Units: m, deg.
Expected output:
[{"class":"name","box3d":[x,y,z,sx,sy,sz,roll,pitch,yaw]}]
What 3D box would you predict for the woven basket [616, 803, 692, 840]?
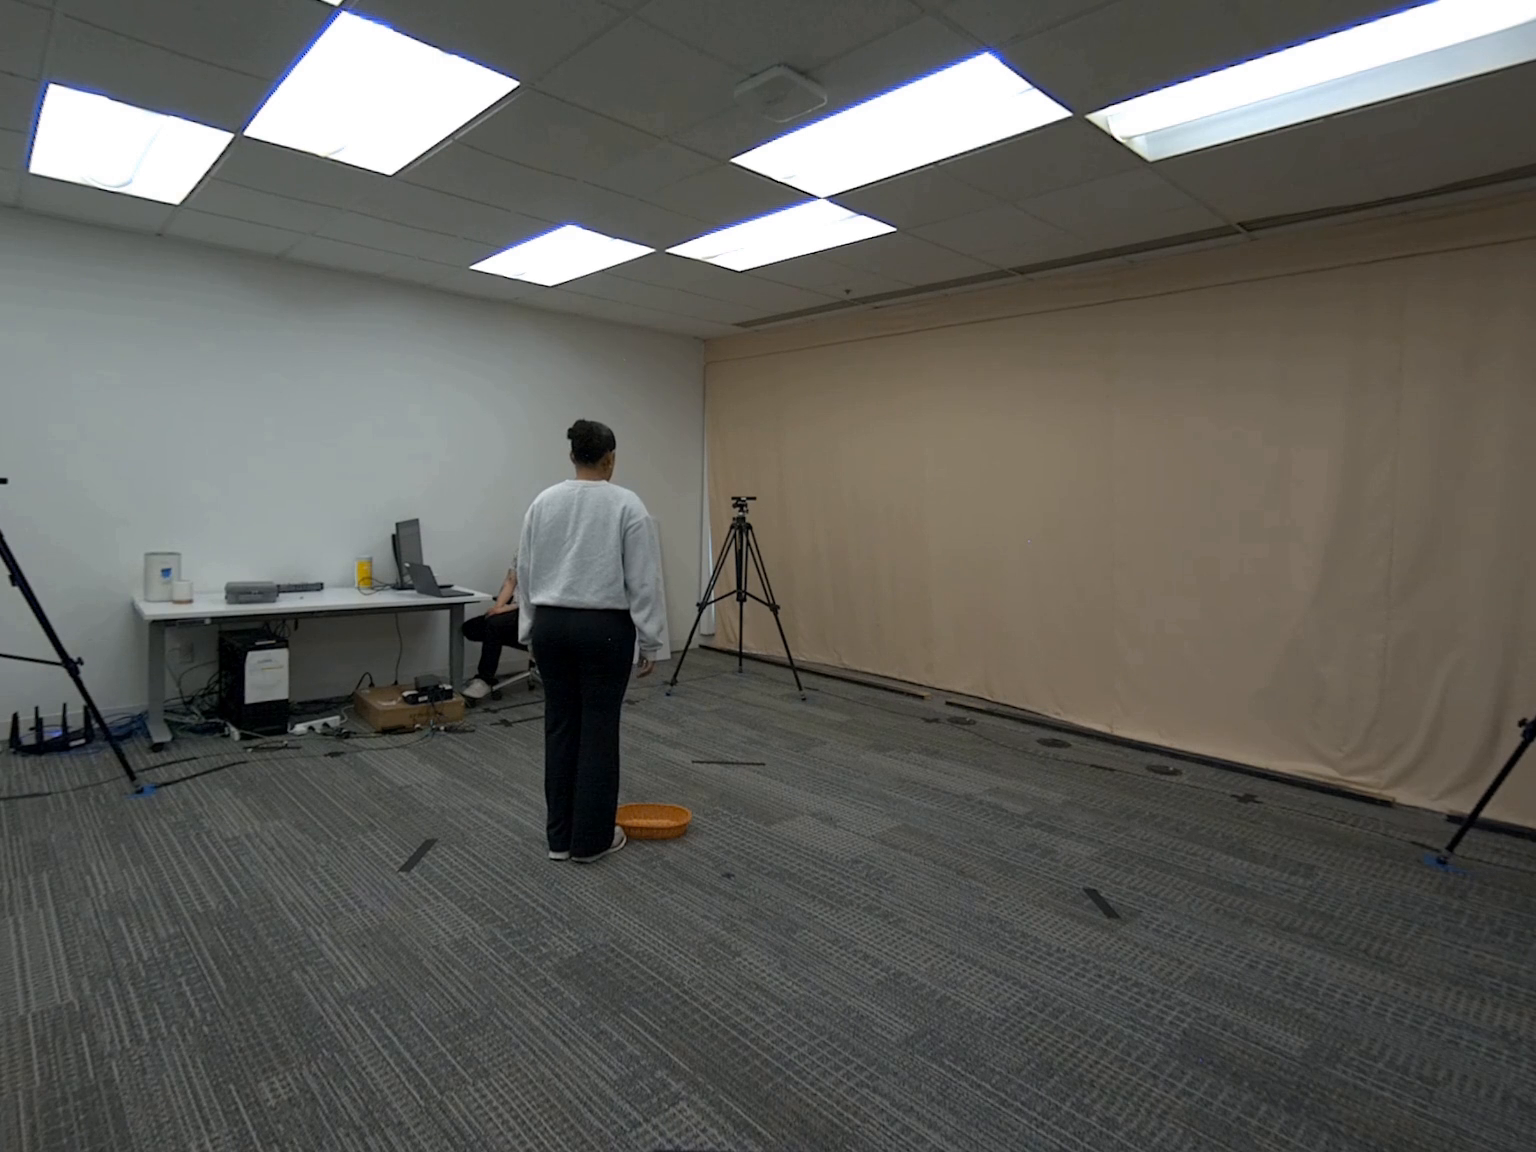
[{"class":"woven basket","box3d":[-0.495,1.023,3.509,0.351,0.073,0.253,2,6,2]}]
